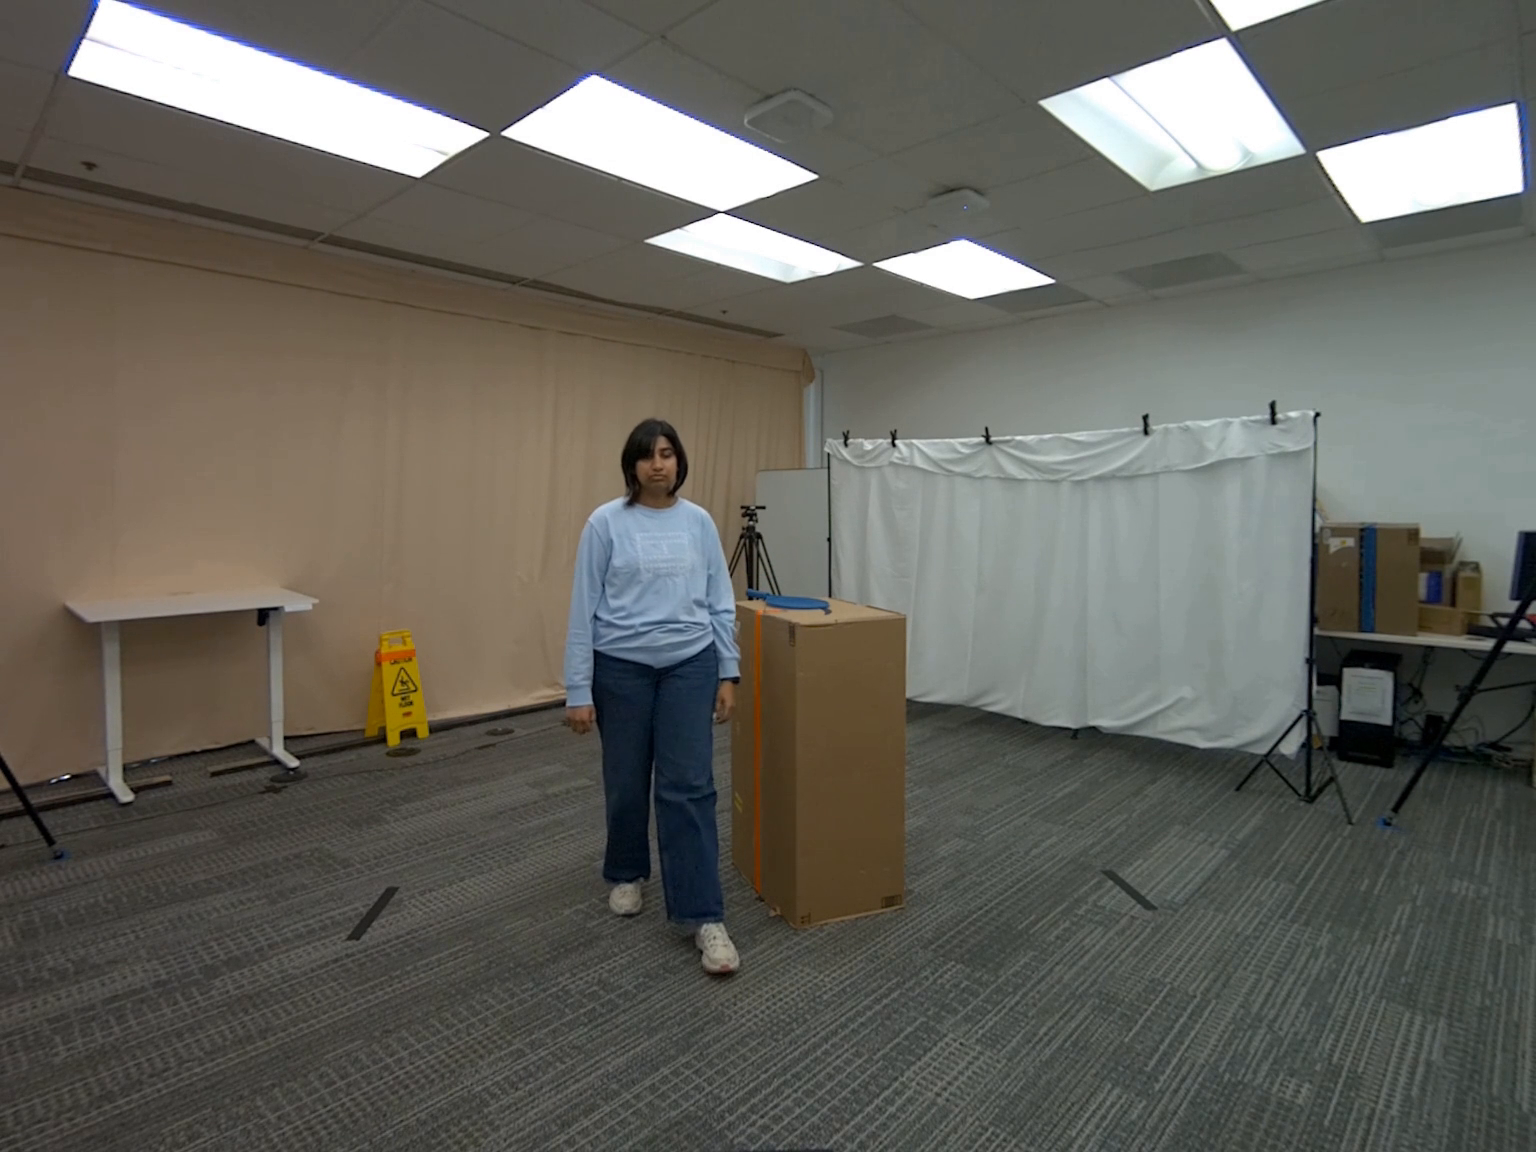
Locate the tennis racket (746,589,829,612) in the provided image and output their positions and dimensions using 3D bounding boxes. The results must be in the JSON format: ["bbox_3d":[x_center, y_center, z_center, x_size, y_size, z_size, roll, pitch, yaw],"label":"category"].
[{"bbox_3d":[0.061,0.095,3.157,0.207,0.031,0.448,-5,9,-40],"label":"tennis racket"}]
